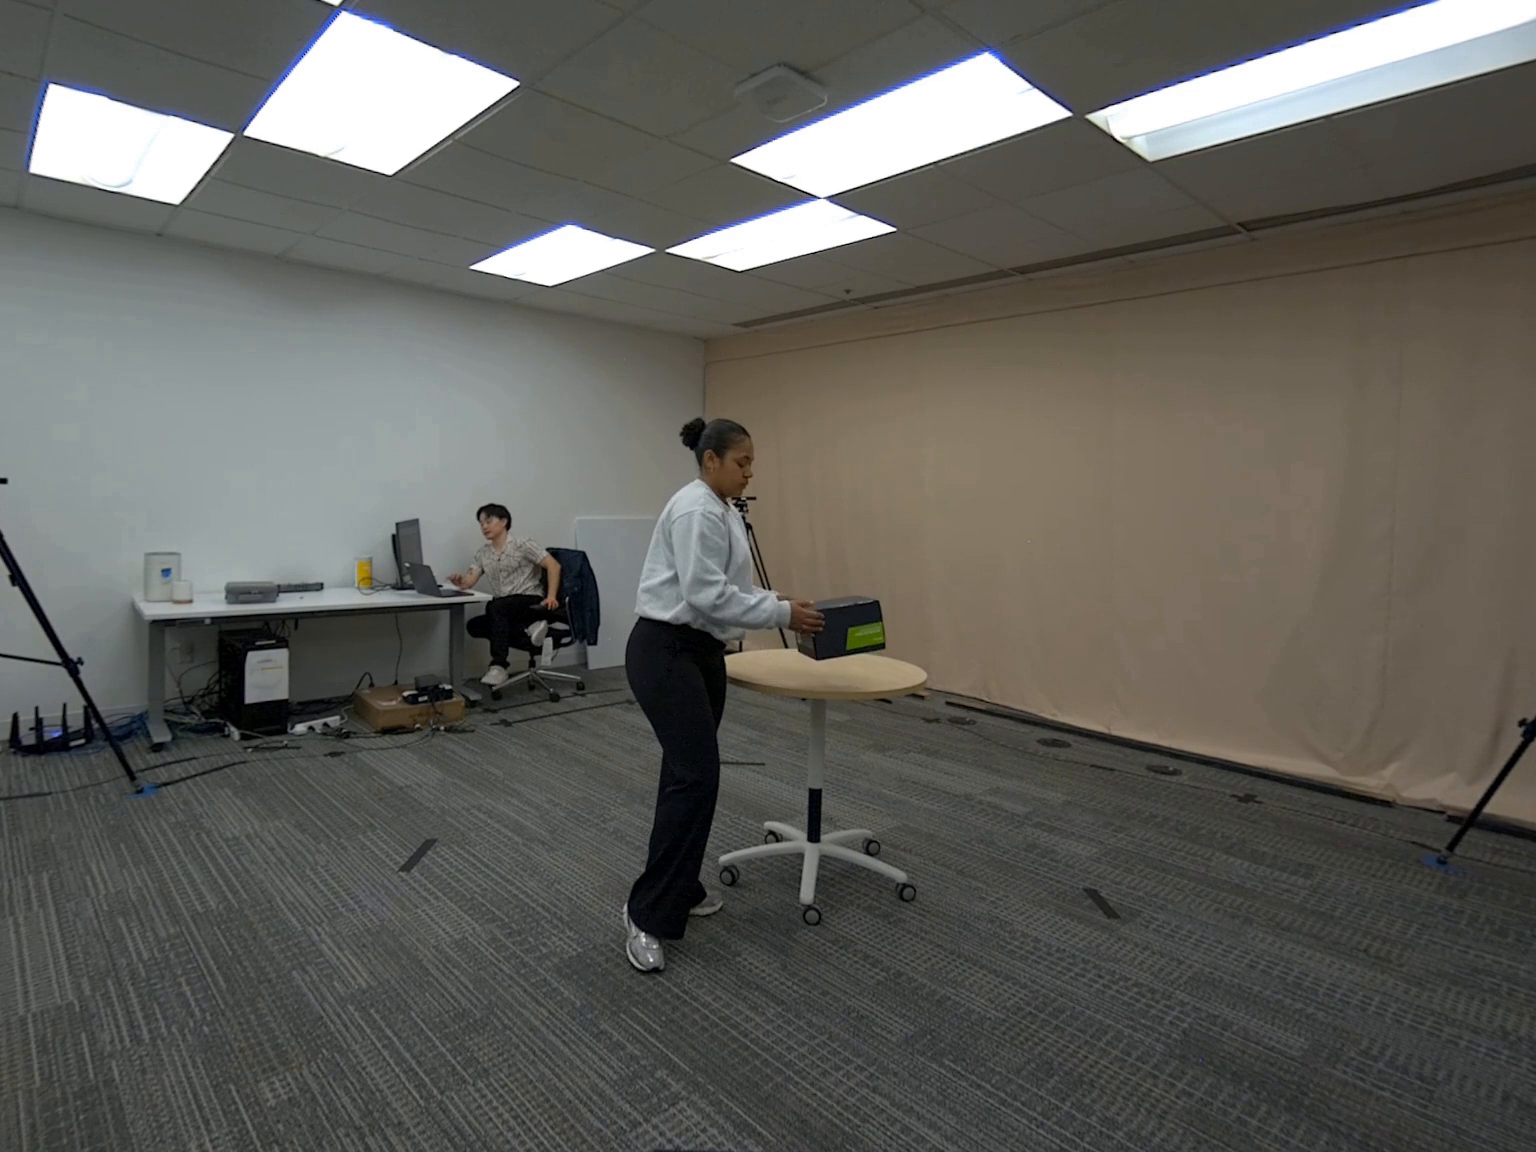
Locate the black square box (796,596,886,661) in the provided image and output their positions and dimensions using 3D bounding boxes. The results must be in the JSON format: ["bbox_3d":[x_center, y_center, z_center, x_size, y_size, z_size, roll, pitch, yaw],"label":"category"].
[{"bbox_3d":[0.218,0.167,2.668,0.226,0.155,0.219,-7,3,-13],"label":"black square box"}]
